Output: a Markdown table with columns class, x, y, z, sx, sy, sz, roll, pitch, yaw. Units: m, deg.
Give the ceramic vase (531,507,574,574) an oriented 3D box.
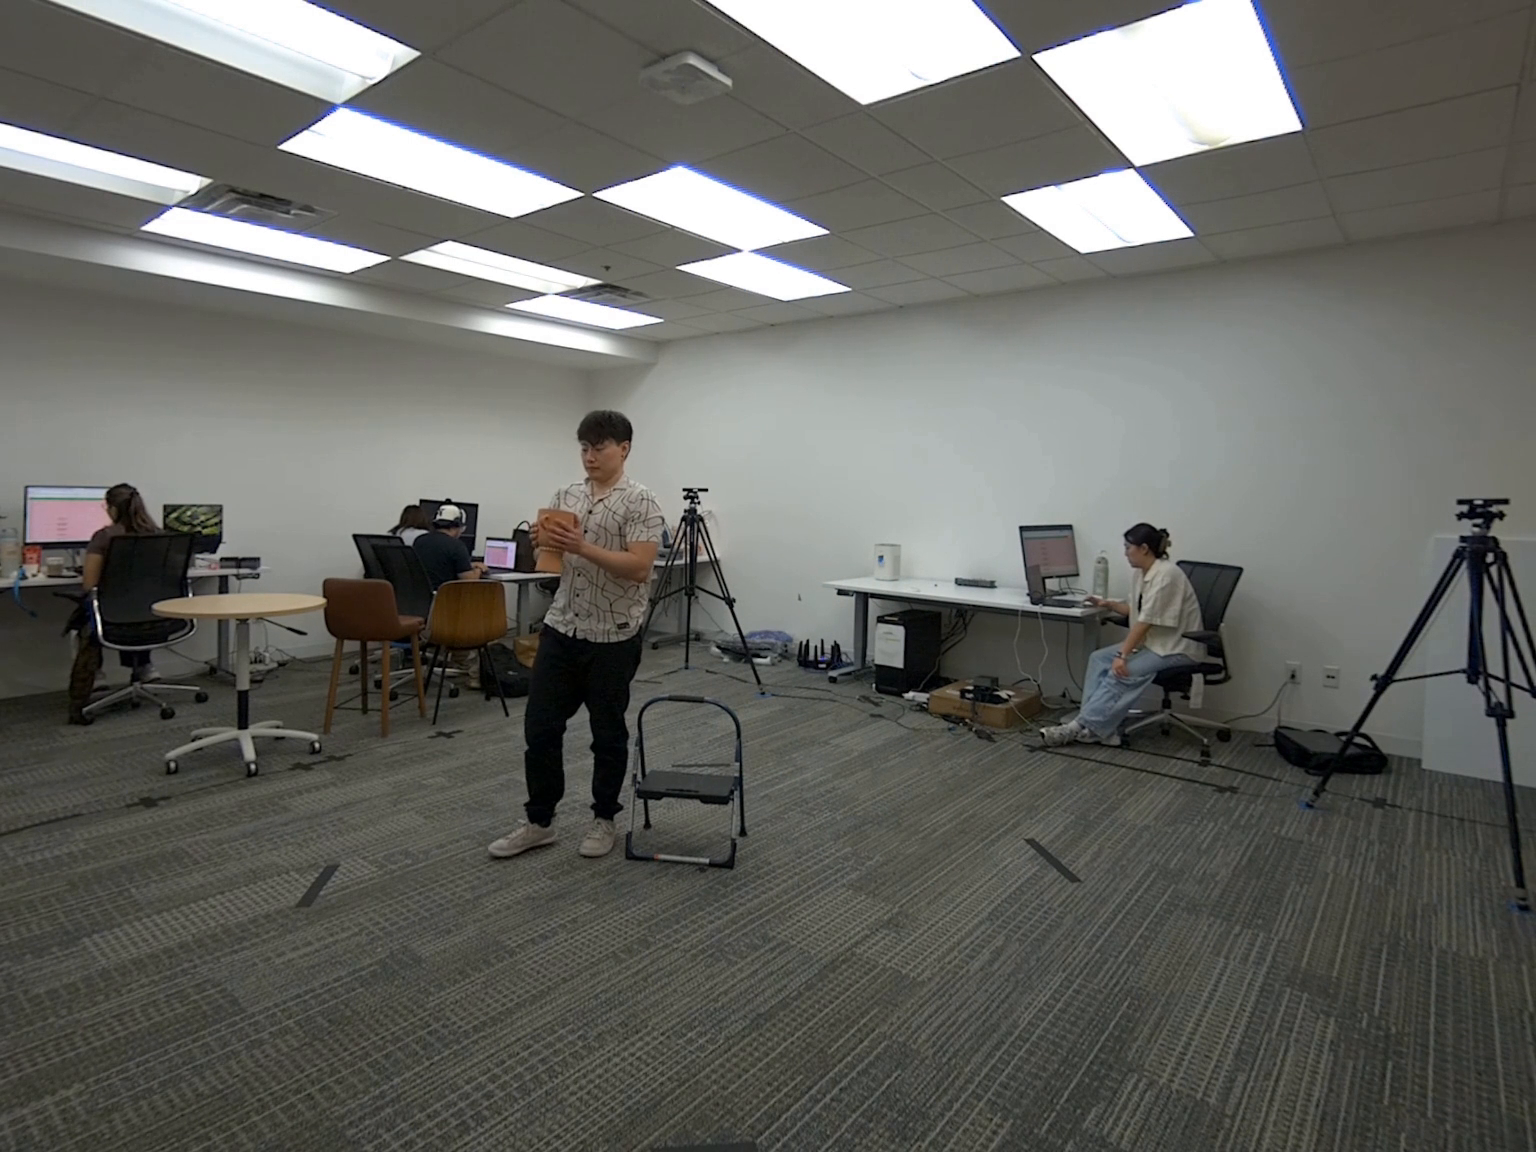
| class | x | y | z | sx | sy | sz | roll | pitch | yaw |
| --- | --- | --- | --- | --- | --- | --- | --- | --- | --- |
| ceramic vase | -0.741 | -0.123 | 3.018 | 0.154 | 0.221 | 0.138 | 7 | -5 | -34 |
